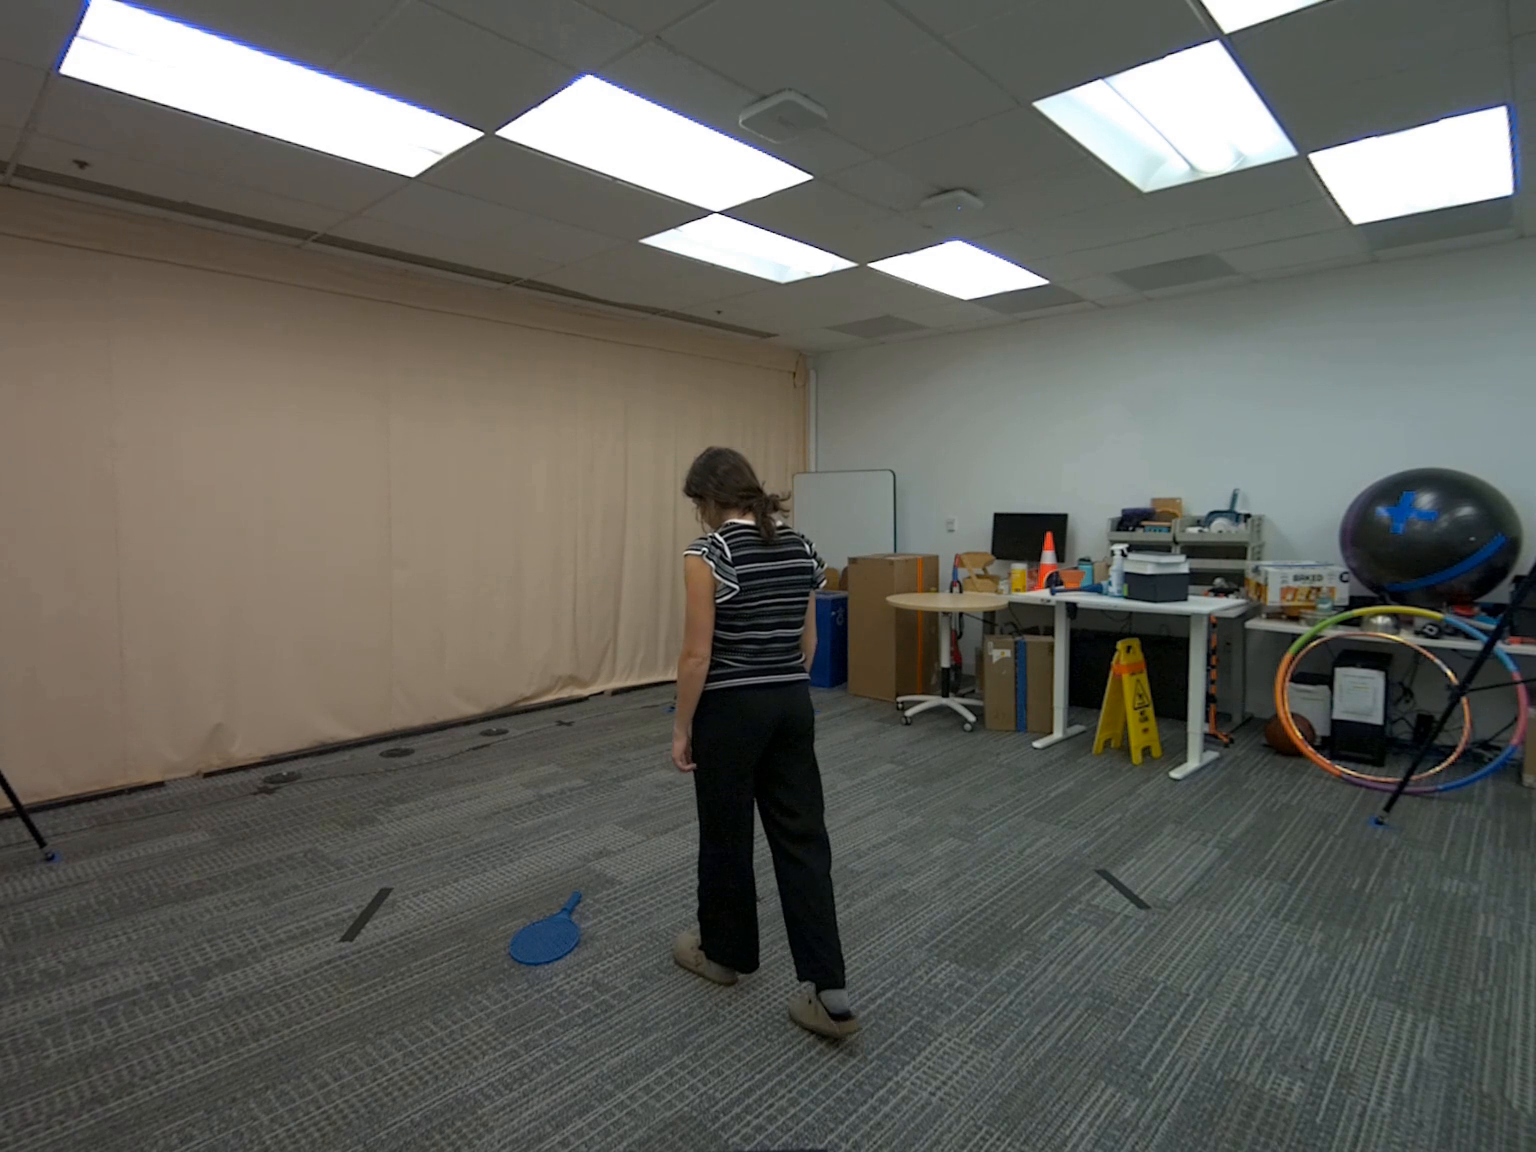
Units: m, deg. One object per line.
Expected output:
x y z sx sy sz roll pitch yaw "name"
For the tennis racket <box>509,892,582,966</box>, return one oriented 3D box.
-0.699 1.155 2.773 0.215 0.031 0.431 0 6 6 "tennis racket"
